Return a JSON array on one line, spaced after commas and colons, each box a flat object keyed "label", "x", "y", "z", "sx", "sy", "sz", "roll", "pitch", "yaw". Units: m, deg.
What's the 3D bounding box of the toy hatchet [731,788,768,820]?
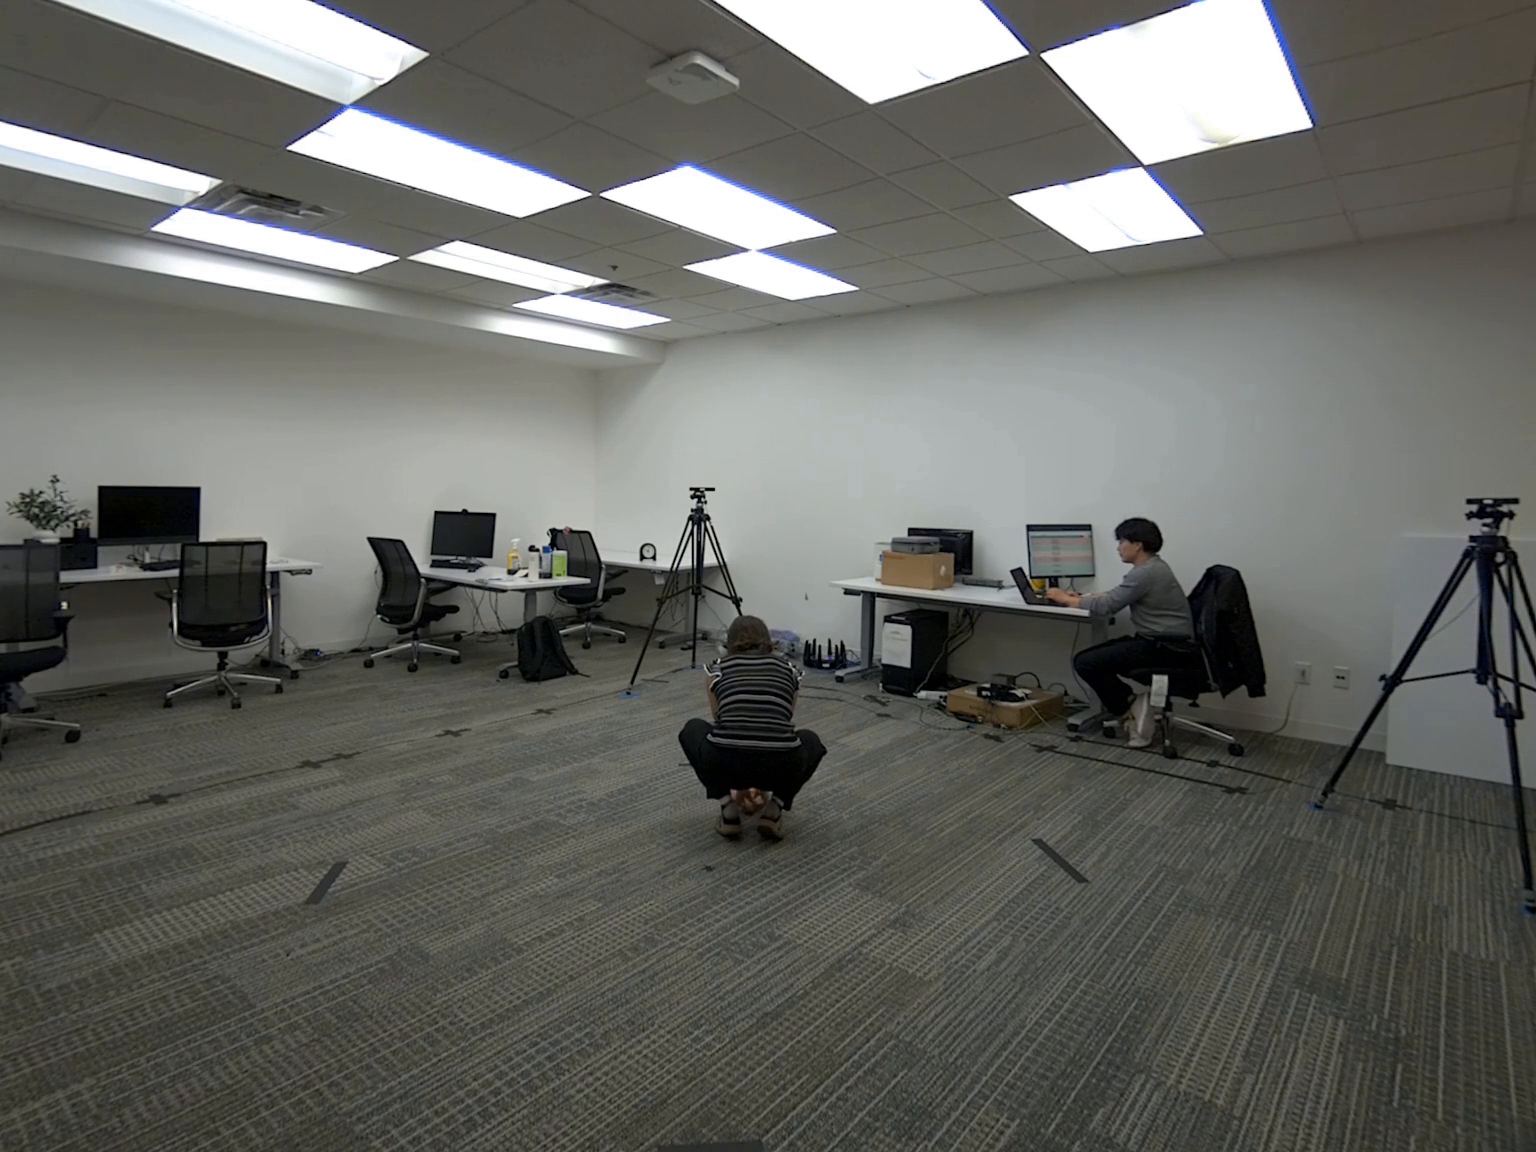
[{"label": "toy hatchet", "x": -0.057, "y": 0.987, "z": 3.779, "sx": 0.128, "sy": 0.029, "sz": 0.278, "roll": -2, "pitch": 6, "yaw": -28}]
